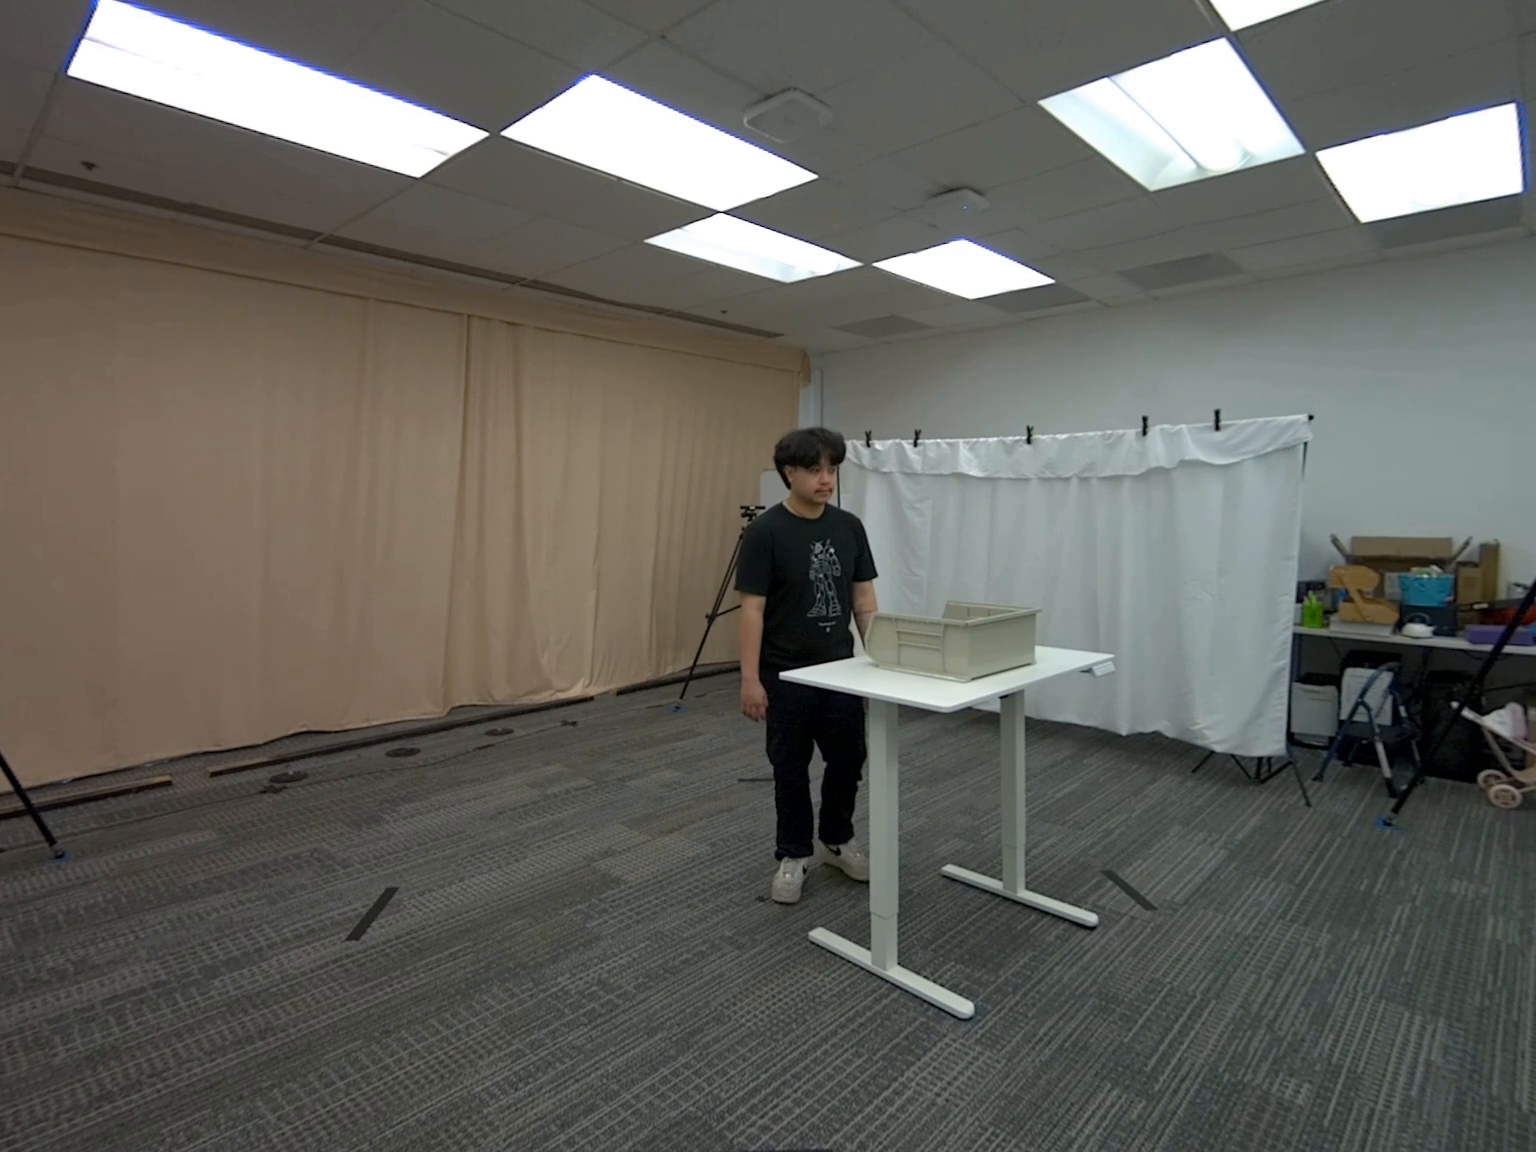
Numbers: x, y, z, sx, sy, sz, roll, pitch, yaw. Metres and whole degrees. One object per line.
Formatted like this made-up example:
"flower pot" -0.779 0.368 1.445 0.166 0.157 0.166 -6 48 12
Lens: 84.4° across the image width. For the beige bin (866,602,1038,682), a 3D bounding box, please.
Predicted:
"beige bin" 0.588 0.199 2.672 0.409 0.188 0.390 -5 6 -42
